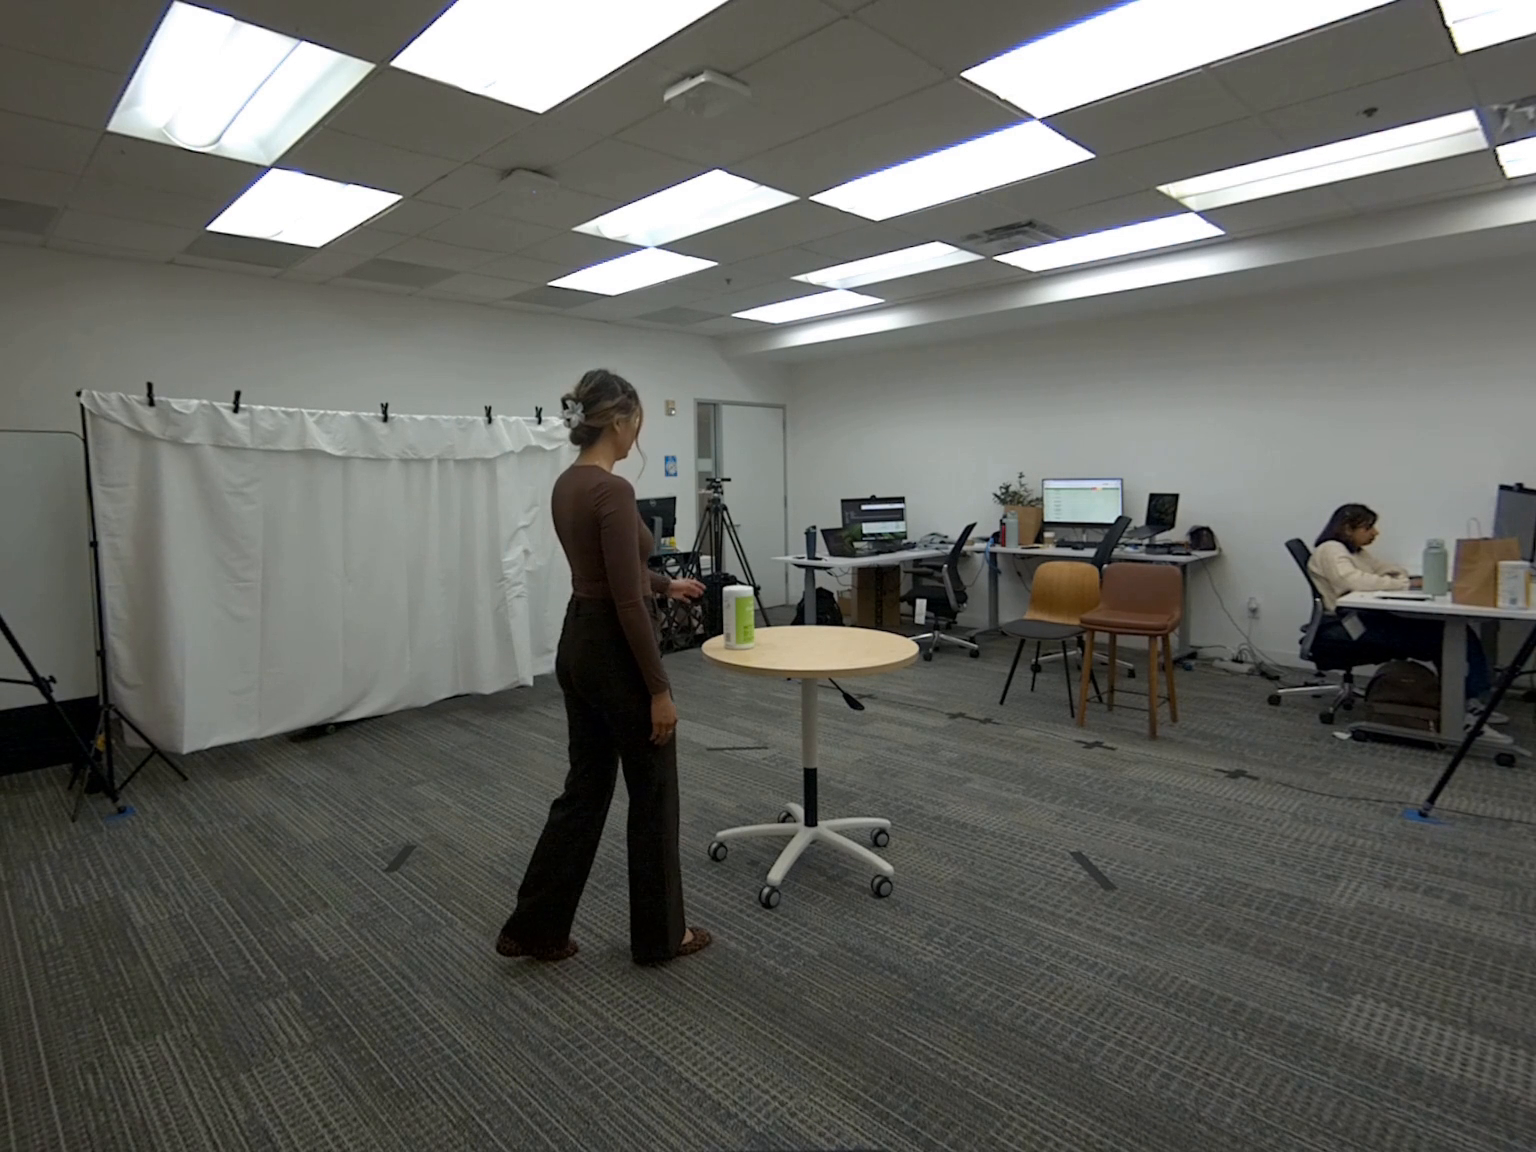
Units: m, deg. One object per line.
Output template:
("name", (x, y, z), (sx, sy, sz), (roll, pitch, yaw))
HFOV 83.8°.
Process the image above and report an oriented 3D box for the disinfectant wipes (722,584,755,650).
("disinfectant wipes", (-0.107, 0.146, 3.039), (0.118, 0.217, 0.118), (-2, 4, -2))
